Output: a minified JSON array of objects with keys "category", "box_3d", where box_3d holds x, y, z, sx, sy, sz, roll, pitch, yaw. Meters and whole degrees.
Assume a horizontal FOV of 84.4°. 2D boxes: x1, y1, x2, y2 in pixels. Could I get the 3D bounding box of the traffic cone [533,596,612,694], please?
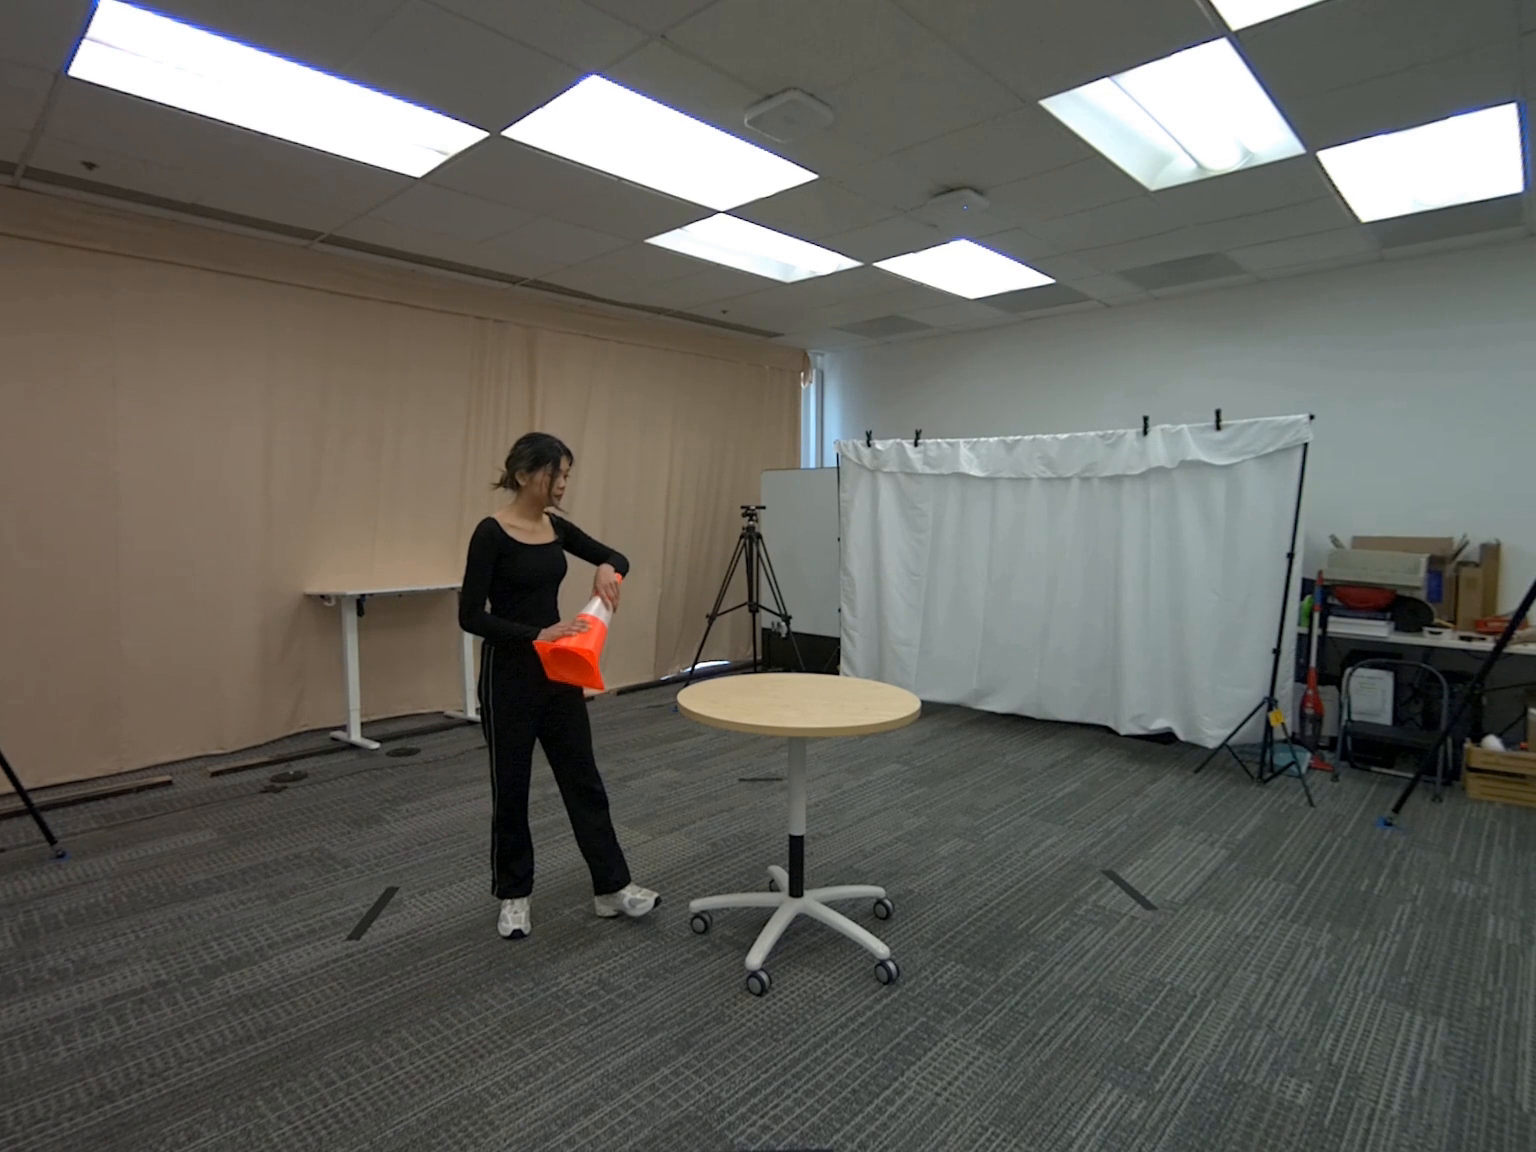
[{"category":"traffic cone","box_3d":[-0.542,0.140,2.651,0.206,0.200,0.386,8,49,12]}]
